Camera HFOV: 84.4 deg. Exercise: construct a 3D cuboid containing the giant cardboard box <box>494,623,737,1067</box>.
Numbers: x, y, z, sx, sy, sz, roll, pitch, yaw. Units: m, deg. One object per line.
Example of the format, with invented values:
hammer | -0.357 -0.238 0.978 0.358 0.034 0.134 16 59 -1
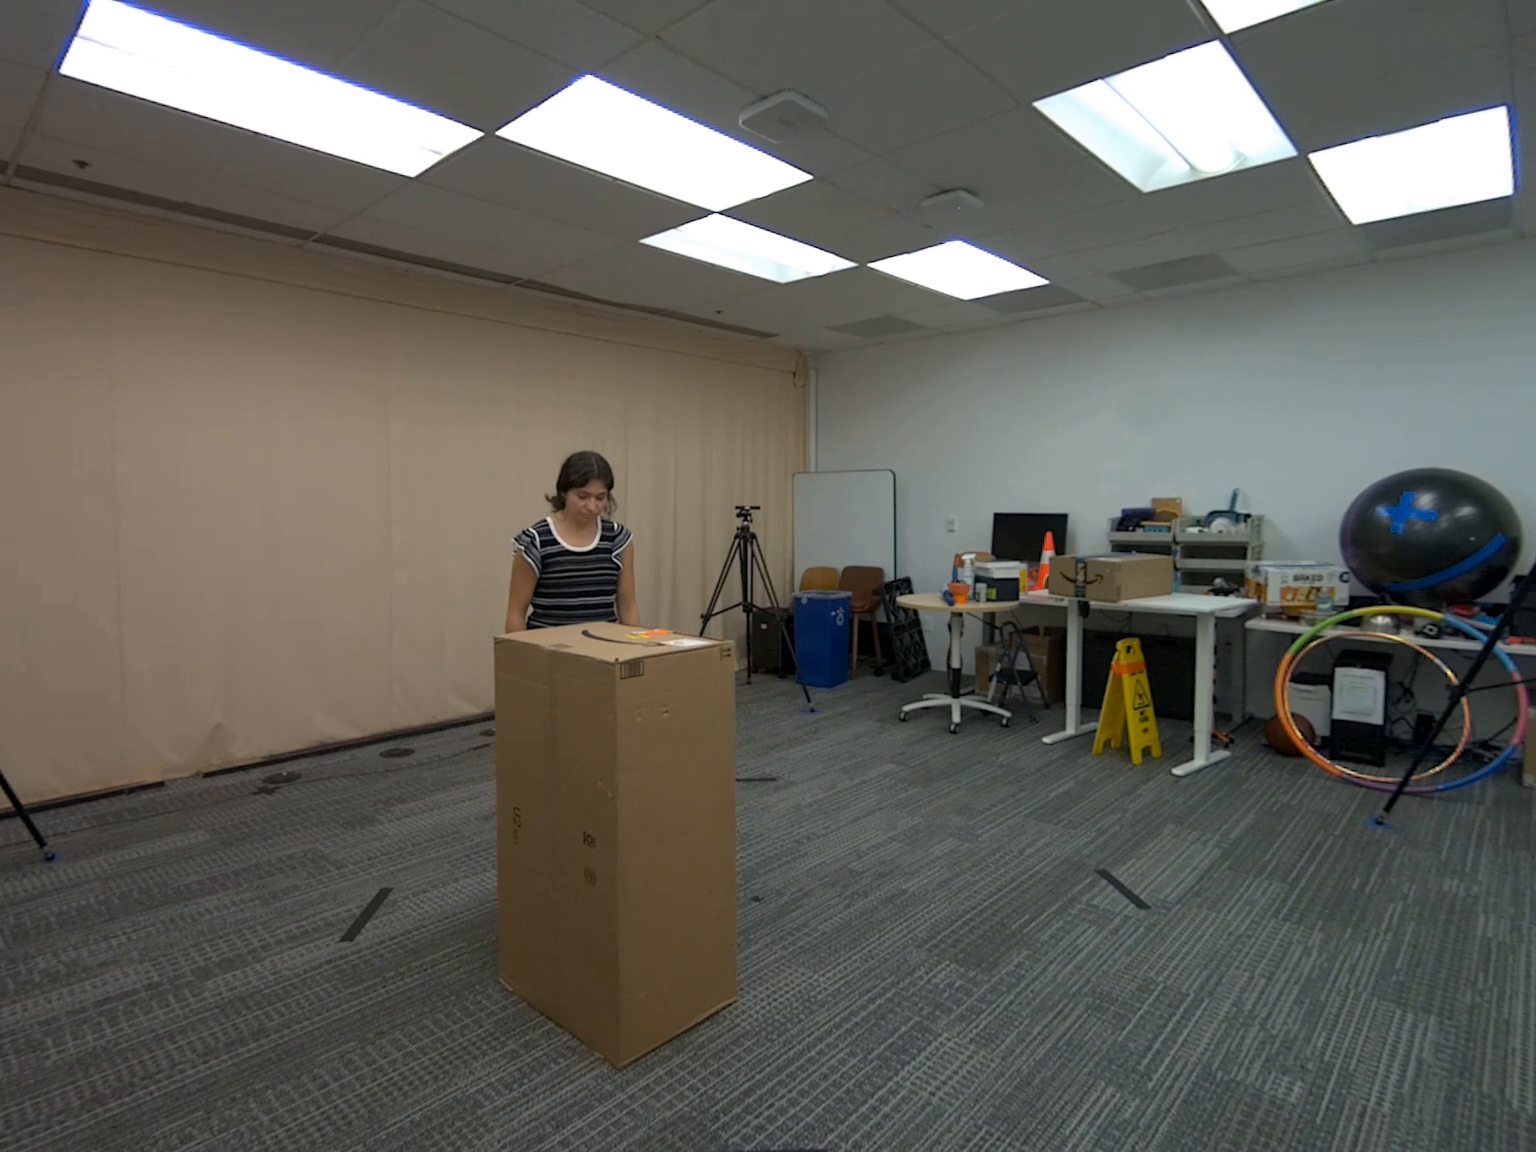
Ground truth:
giant cardboard box | -0.436 0.691 2.400 0.597 1.023 0.413 3 5 44
